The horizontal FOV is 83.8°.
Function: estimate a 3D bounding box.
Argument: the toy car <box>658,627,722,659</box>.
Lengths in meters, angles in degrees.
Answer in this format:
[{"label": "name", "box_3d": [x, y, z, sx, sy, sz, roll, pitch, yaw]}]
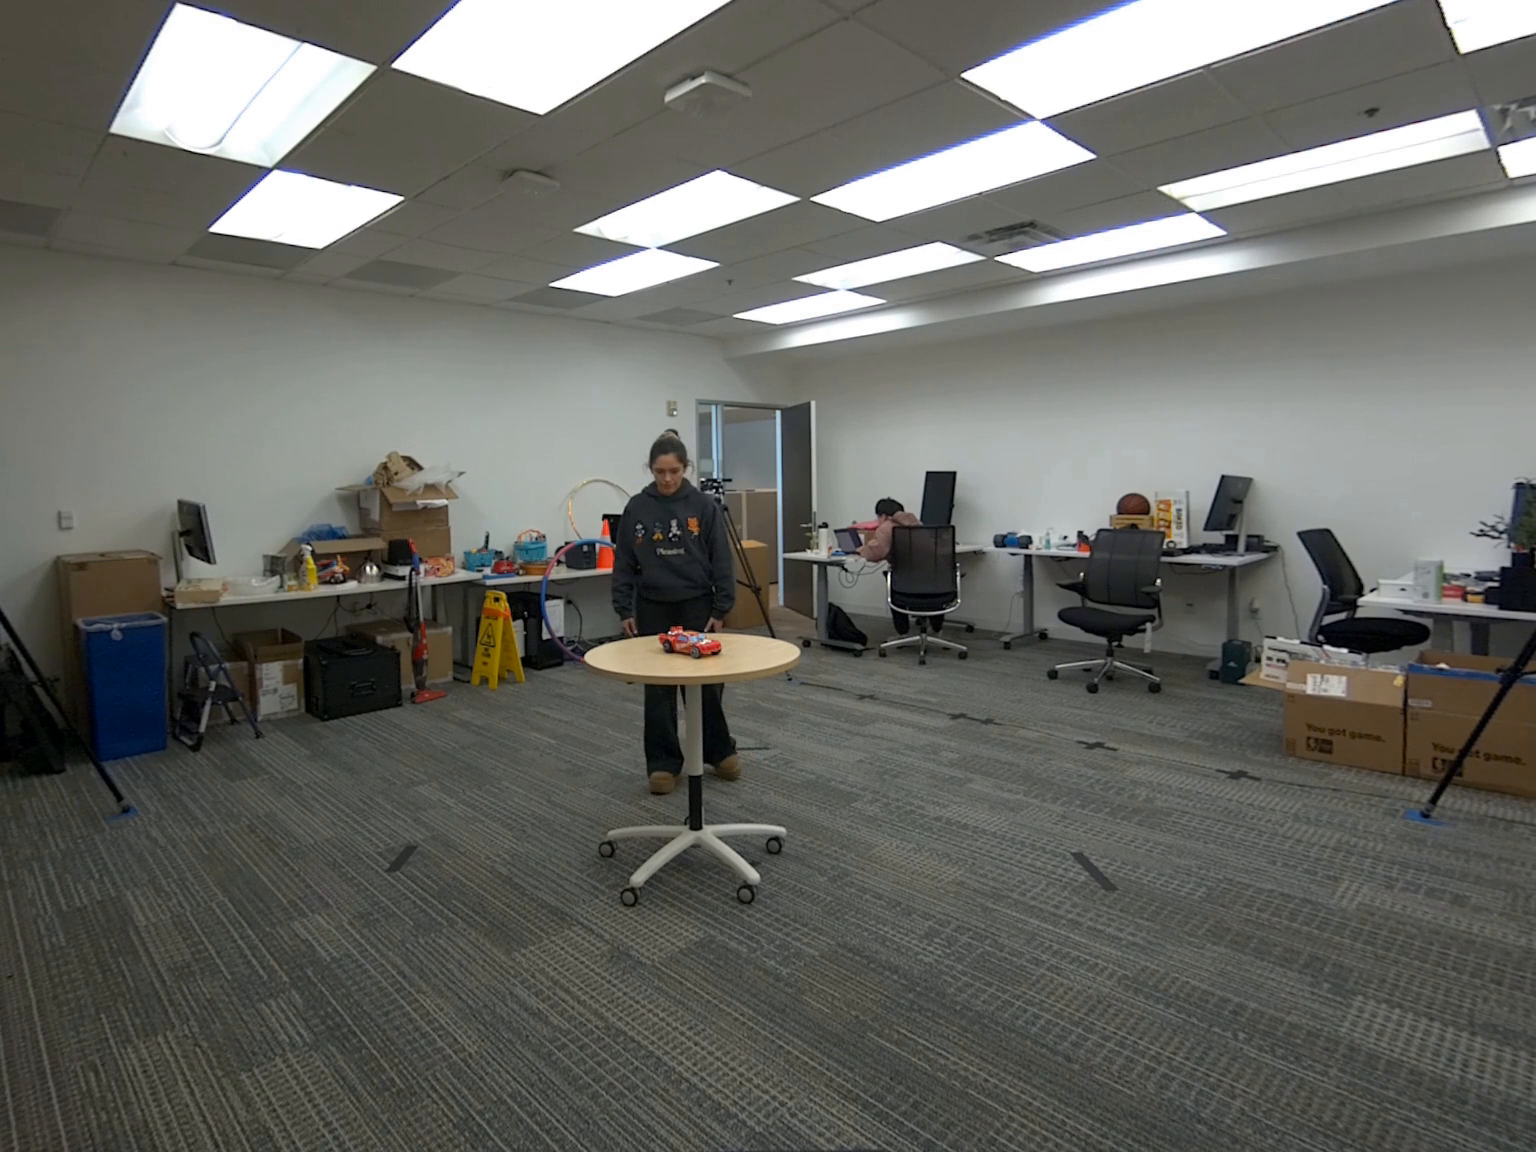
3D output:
[{"label": "toy car", "box_3d": [-0.290, 0.246, 3.029, 0.127, 0.082, 0.264, -6, 18, -45]}]
